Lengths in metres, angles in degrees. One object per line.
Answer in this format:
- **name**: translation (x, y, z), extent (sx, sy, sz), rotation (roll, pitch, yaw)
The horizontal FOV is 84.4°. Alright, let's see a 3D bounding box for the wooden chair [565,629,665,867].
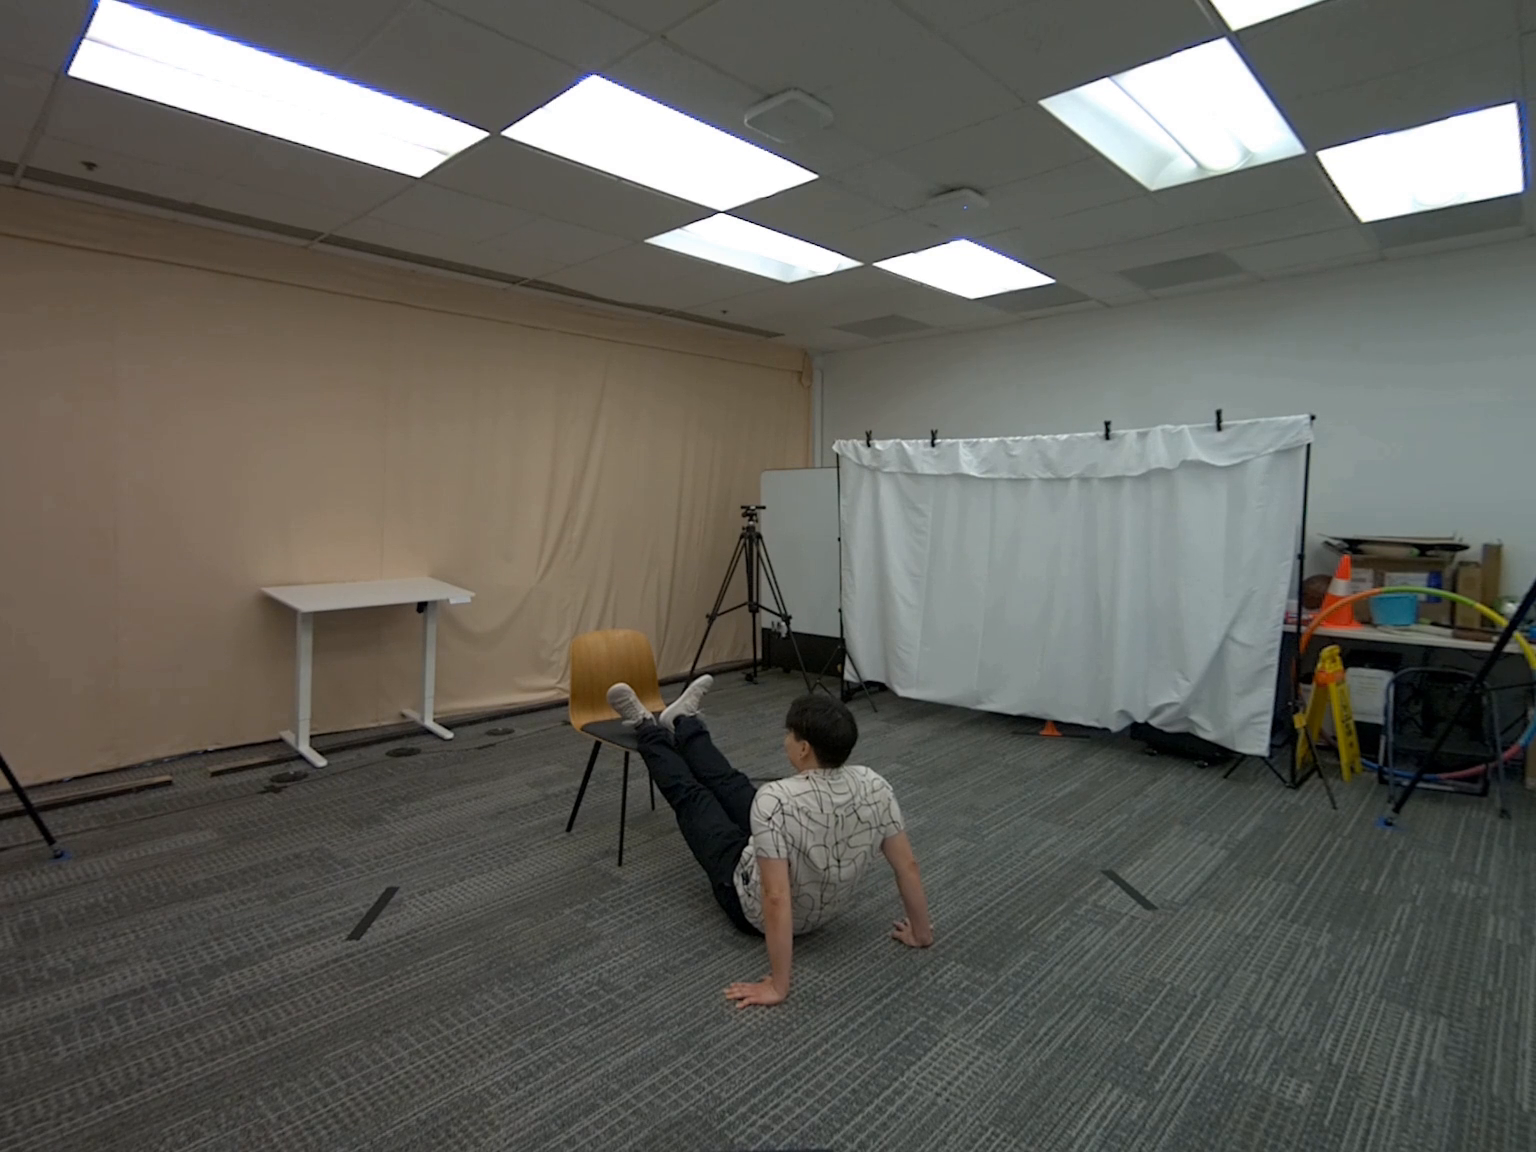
- **wooden chair**: translation (-0.548, 0.673, 3.535), extent (0.464, 0.878, 0.539), rotation (-3, -1, -39)
